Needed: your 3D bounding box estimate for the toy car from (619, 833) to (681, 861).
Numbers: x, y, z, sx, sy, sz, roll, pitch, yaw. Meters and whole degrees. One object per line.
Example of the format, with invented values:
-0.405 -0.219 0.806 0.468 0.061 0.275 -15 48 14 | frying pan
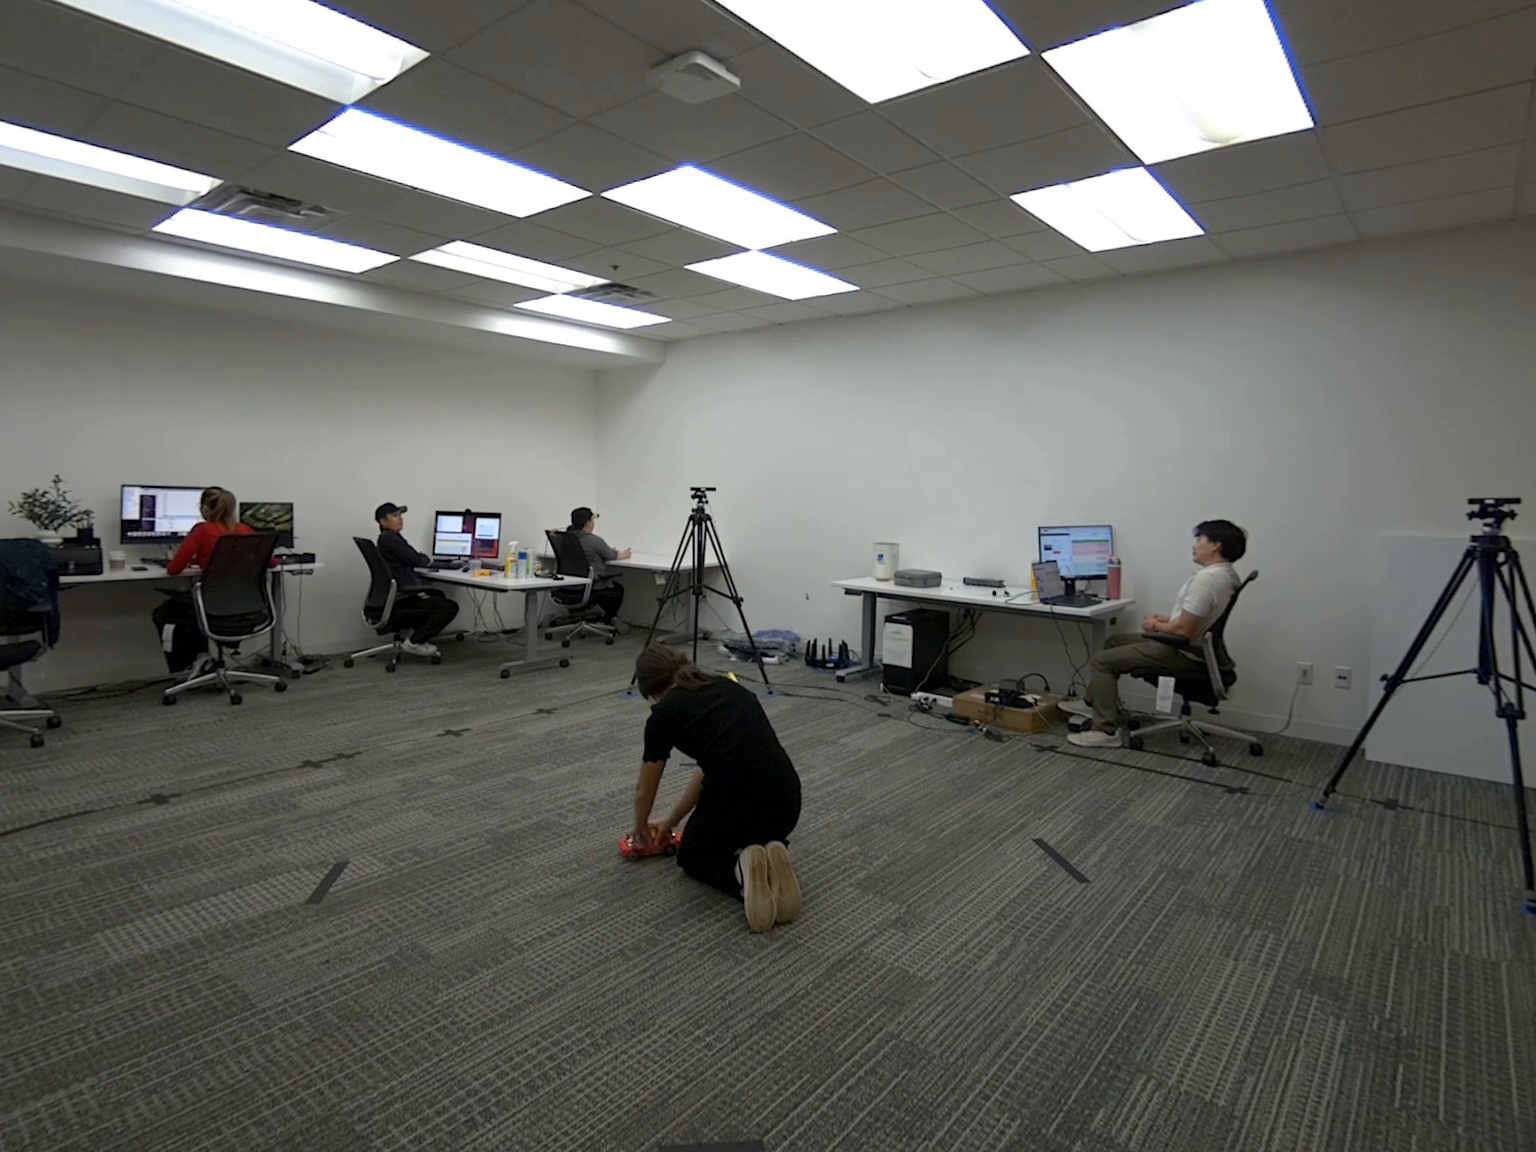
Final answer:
-0.440 1.025 3.250 0.251 0.082 0.133 -13 9 -18 | toy car
